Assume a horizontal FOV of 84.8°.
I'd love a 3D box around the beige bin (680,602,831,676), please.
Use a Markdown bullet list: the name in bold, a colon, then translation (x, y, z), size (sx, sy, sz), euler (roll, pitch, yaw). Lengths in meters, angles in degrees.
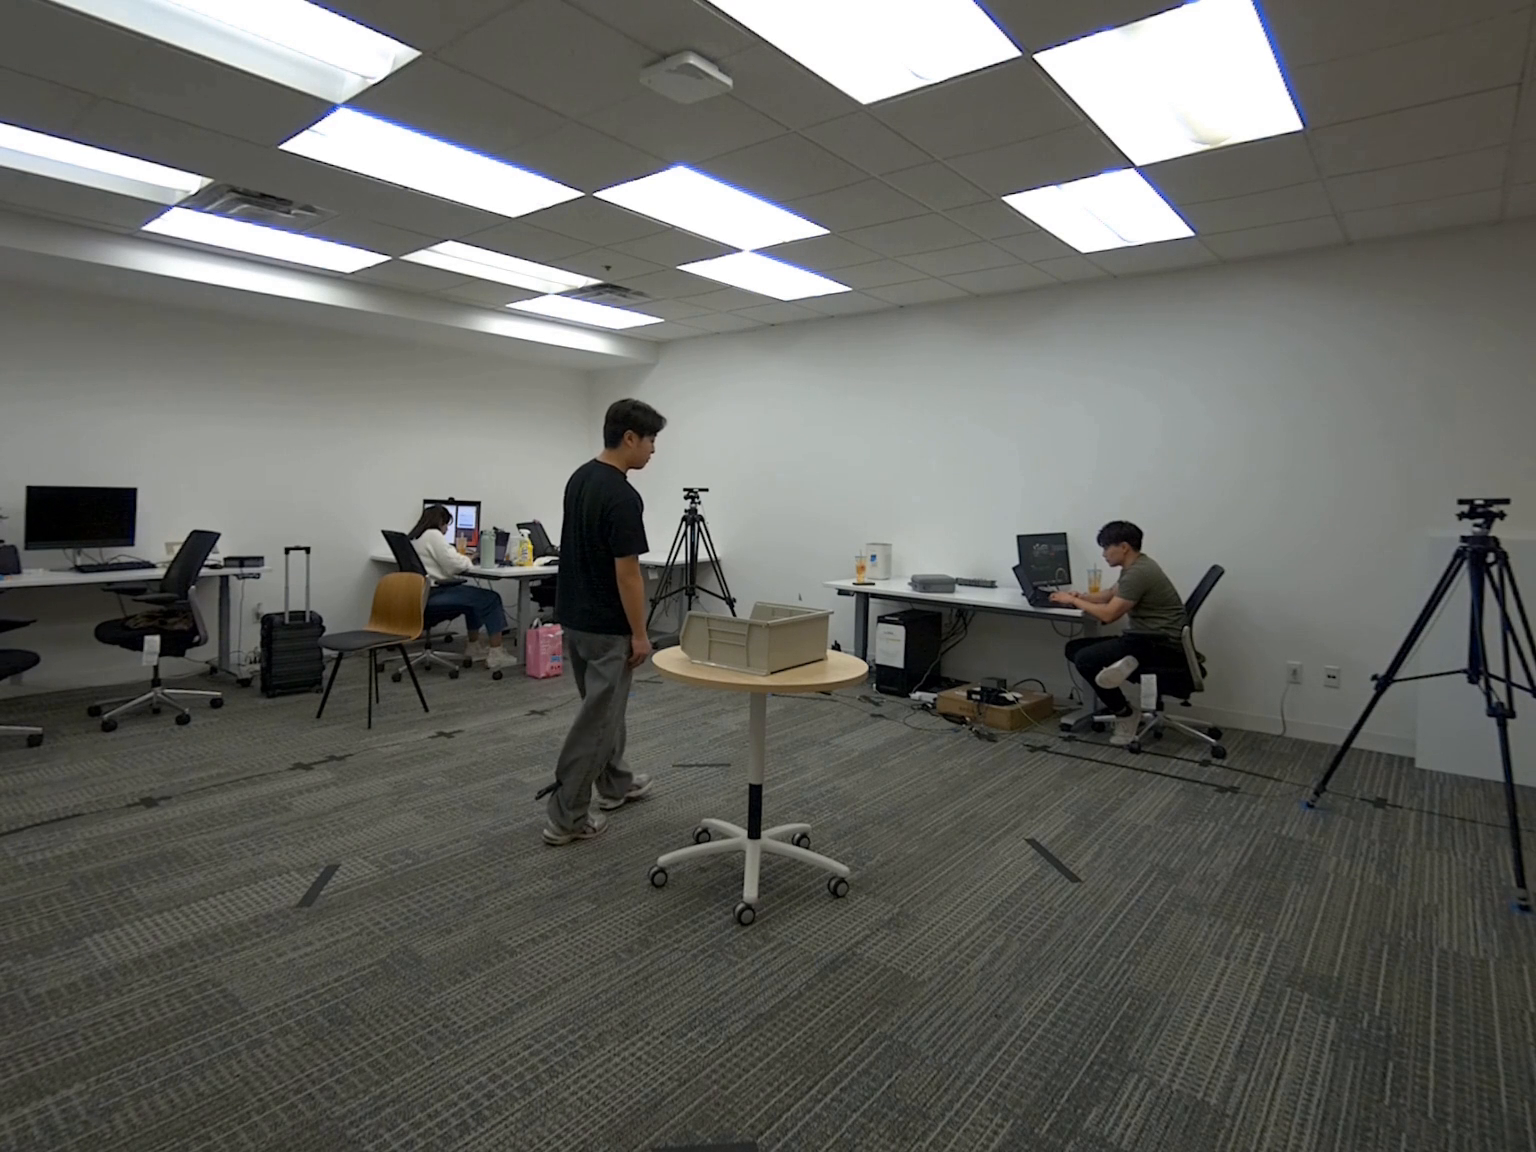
- **beige bin**: translation (-0.049, 0.210, 3.030), size (0.390, 0.188, 0.410), euler (7, 7, 35)
